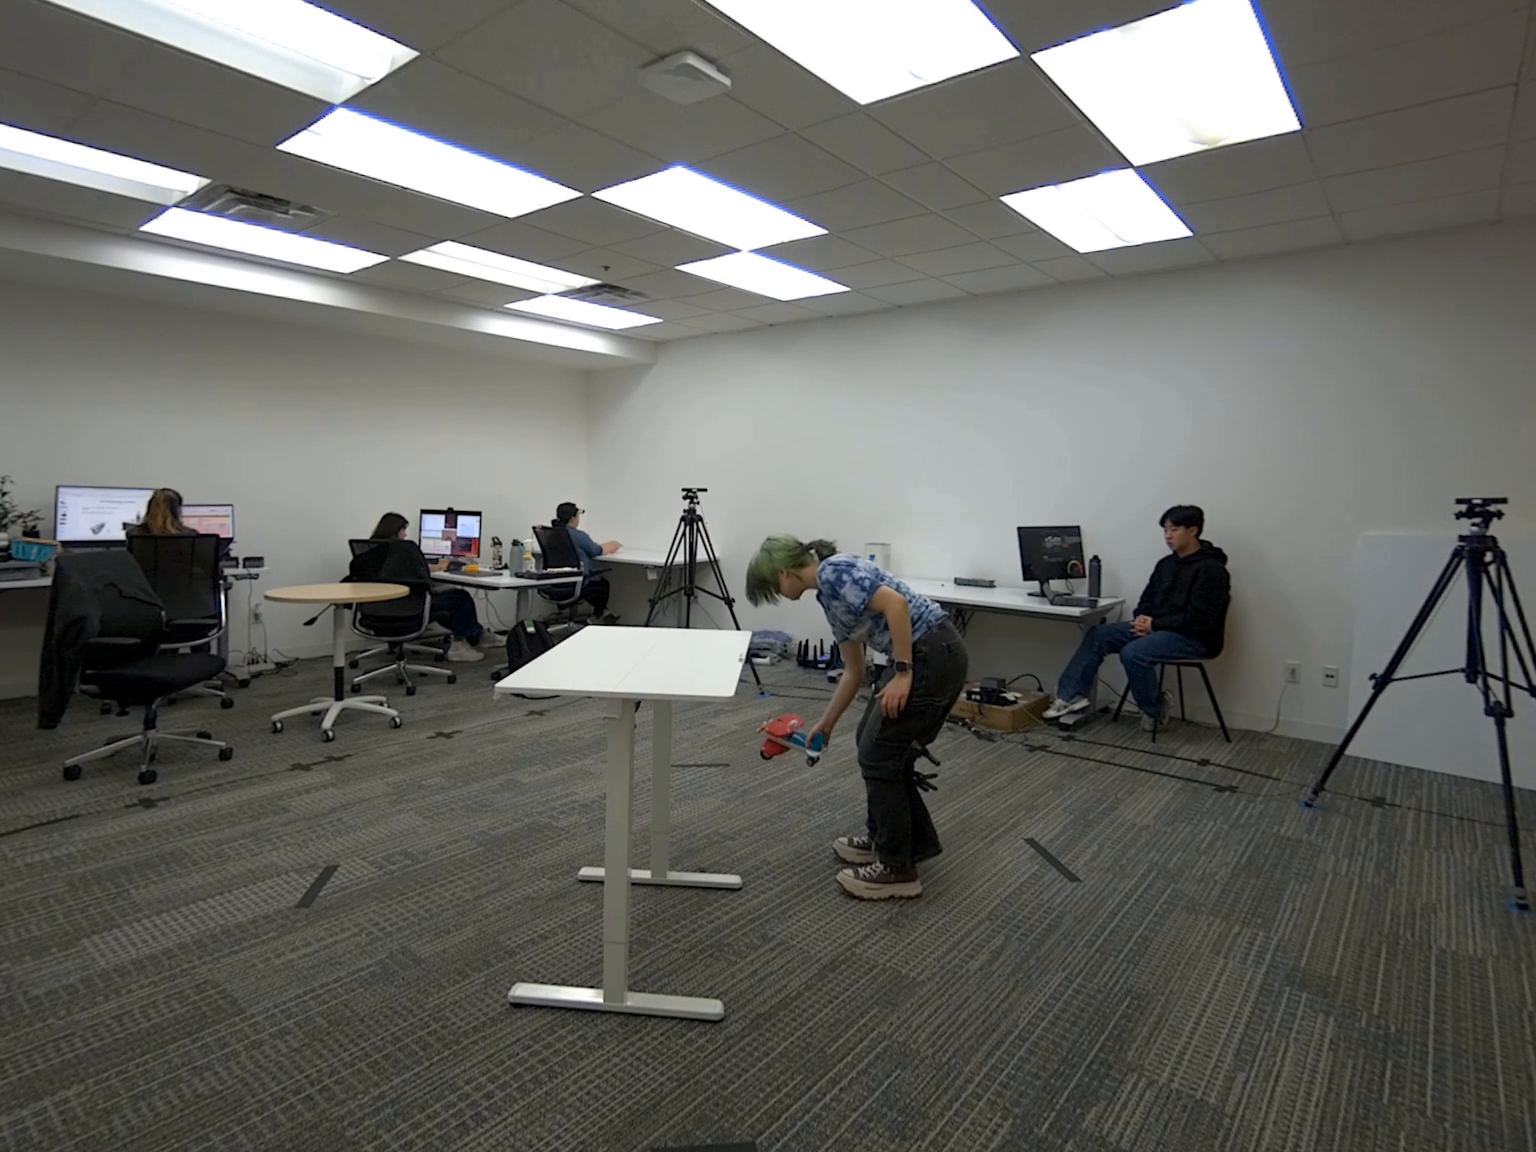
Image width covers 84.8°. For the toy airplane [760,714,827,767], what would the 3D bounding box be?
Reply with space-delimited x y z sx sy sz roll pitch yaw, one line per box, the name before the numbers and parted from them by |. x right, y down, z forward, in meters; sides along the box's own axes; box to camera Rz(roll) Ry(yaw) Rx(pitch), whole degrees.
toy airplane | 0.087 0.641 3.344 0.260 0.156 0.252 -1 6 1
